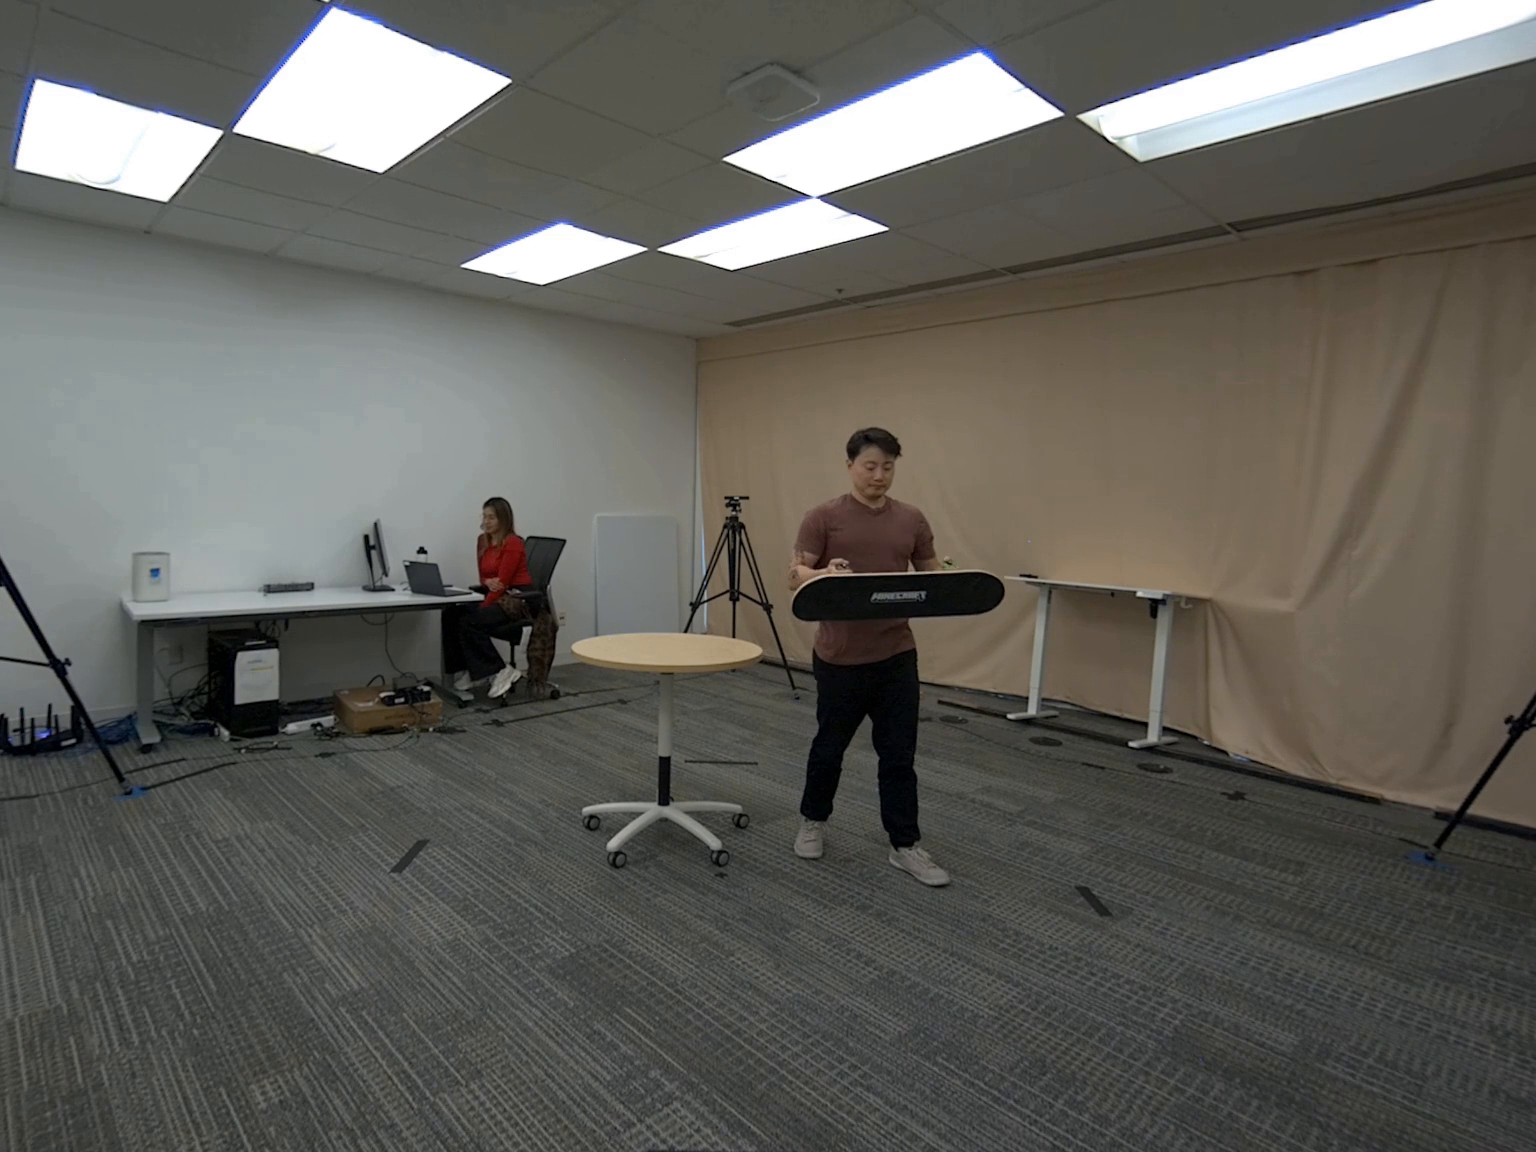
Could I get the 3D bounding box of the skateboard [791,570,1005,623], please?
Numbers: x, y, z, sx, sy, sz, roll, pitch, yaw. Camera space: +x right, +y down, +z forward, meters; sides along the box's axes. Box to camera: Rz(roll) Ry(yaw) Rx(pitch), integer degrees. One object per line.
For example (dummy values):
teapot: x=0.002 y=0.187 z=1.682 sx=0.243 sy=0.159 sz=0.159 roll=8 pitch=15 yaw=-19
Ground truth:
skateboard: x=0.452 y=0.047 z=2.977 sx=0.778 sy=0.190 sz=0.113 roll=-2 pitch=33 yaw=-12
